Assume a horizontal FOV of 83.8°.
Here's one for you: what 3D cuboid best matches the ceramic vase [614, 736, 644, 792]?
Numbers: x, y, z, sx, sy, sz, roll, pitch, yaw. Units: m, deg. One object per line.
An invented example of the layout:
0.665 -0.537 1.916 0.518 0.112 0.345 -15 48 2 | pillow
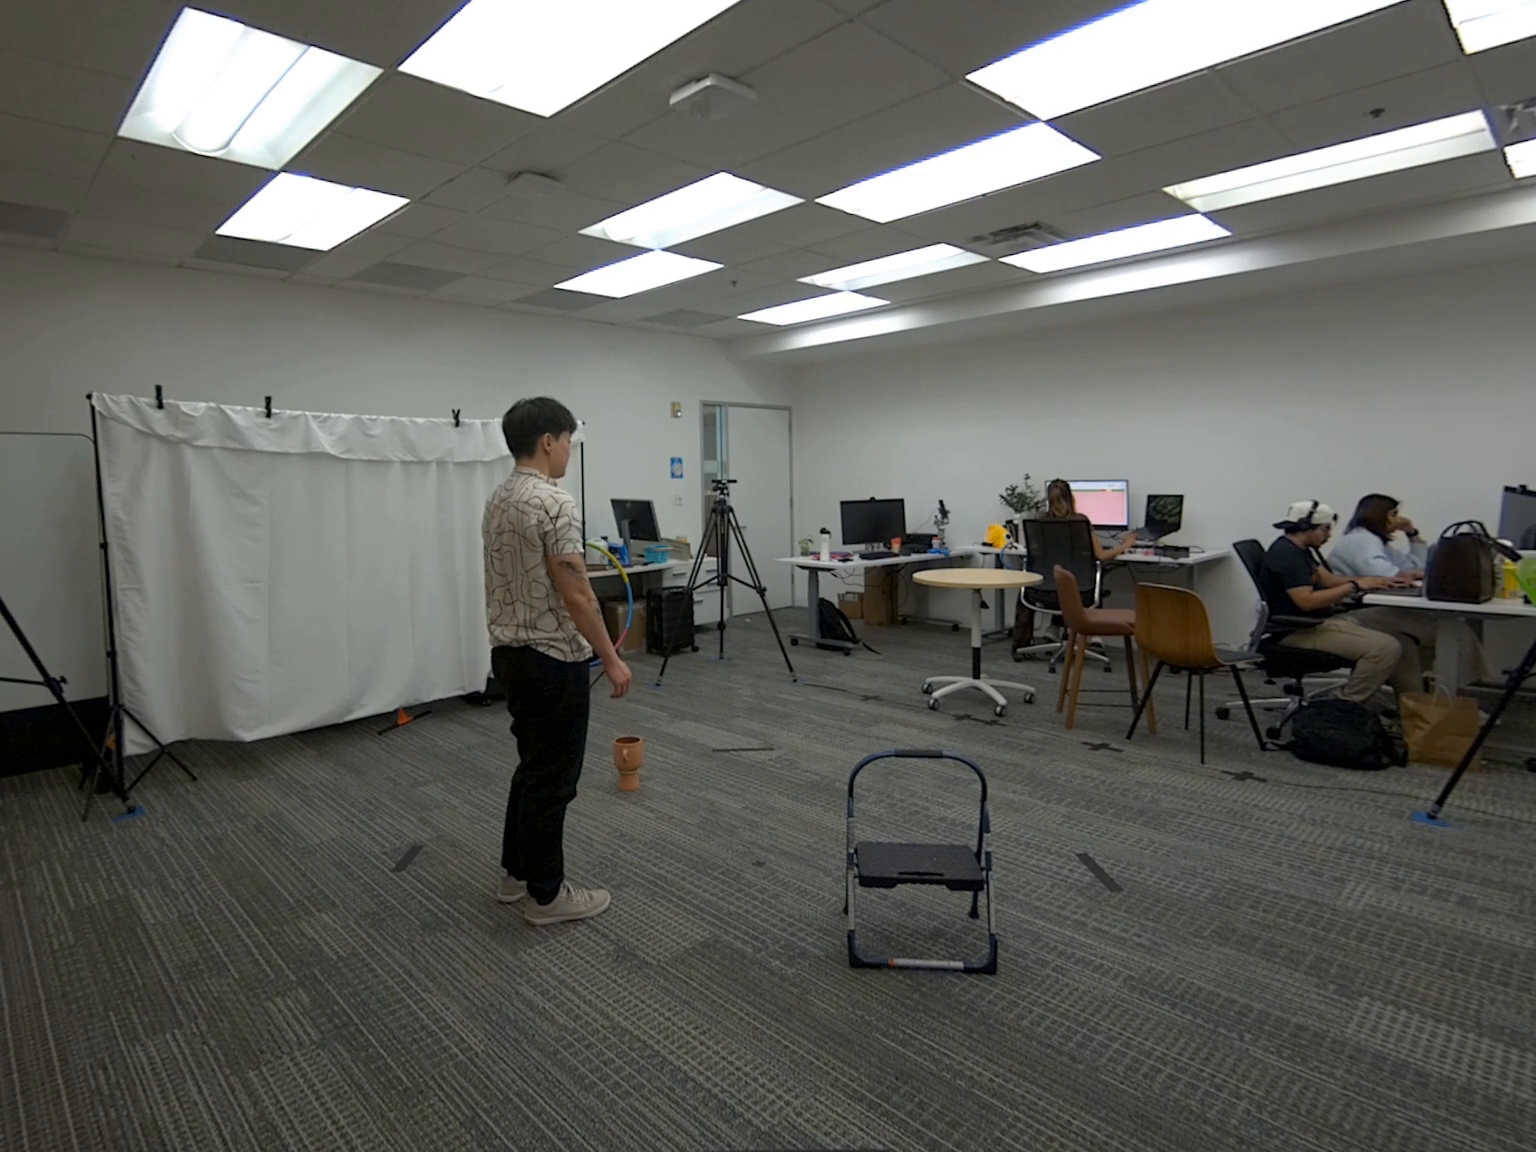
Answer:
-0.638 0.860 3.919 0.139 0.219 0.154 2 5 41 | ceramic vase
